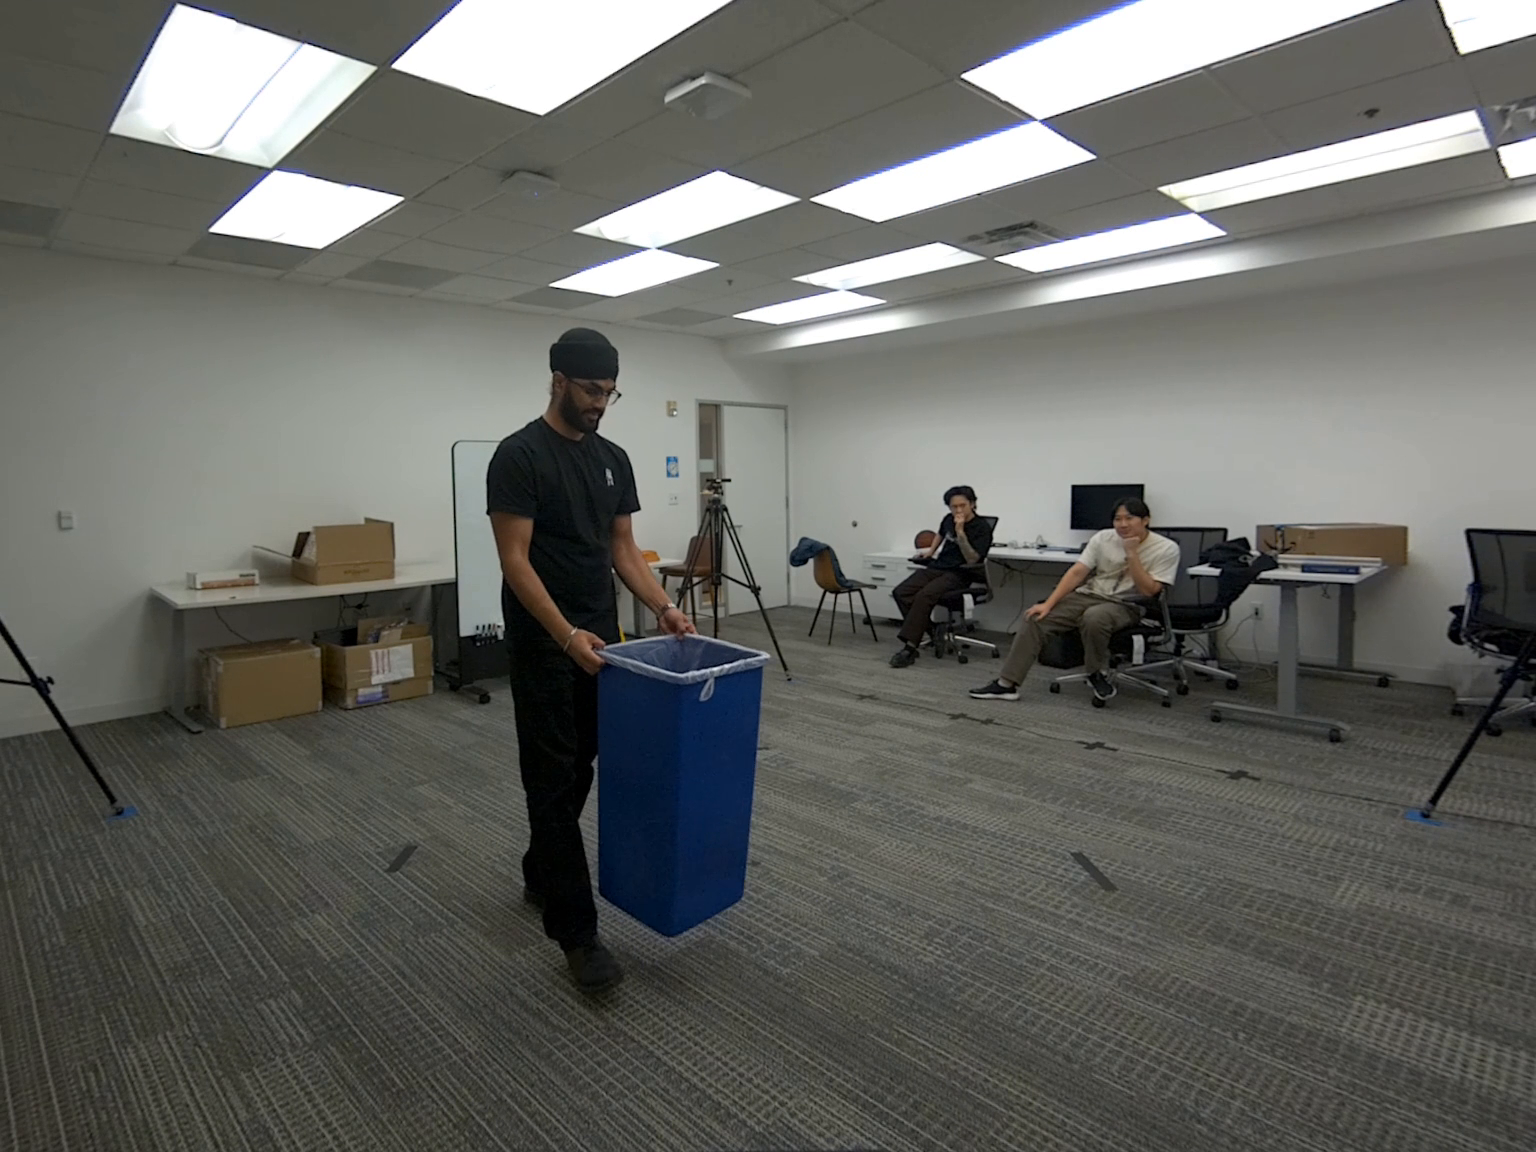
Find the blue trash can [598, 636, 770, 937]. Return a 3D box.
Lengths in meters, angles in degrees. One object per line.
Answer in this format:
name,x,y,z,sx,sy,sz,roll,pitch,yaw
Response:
blue trash can,-0.258,0.563,2.391,0.386,0.710,0.368,8,8,40
